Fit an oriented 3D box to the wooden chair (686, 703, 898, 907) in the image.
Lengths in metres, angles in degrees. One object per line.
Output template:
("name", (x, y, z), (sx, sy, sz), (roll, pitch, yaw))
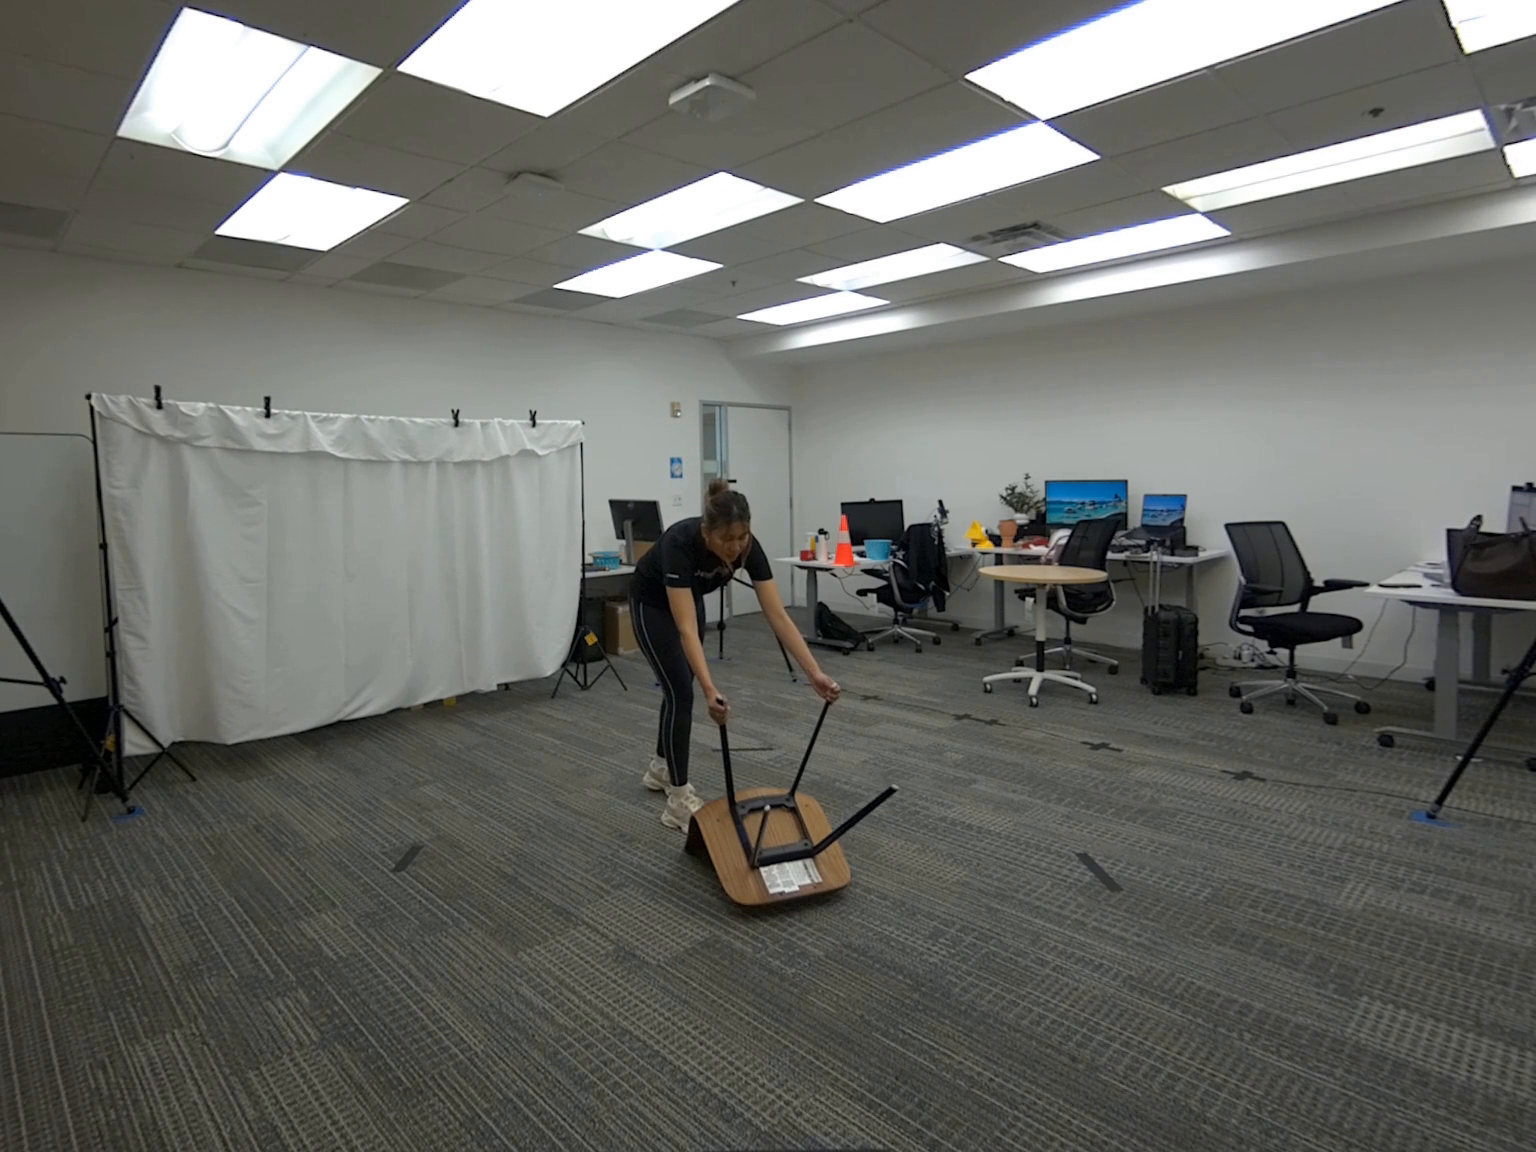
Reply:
("wooden chair", (0.020, 0.867, 2.923), (0.468, 0.862, 0.543), (-2, 42, -24))
